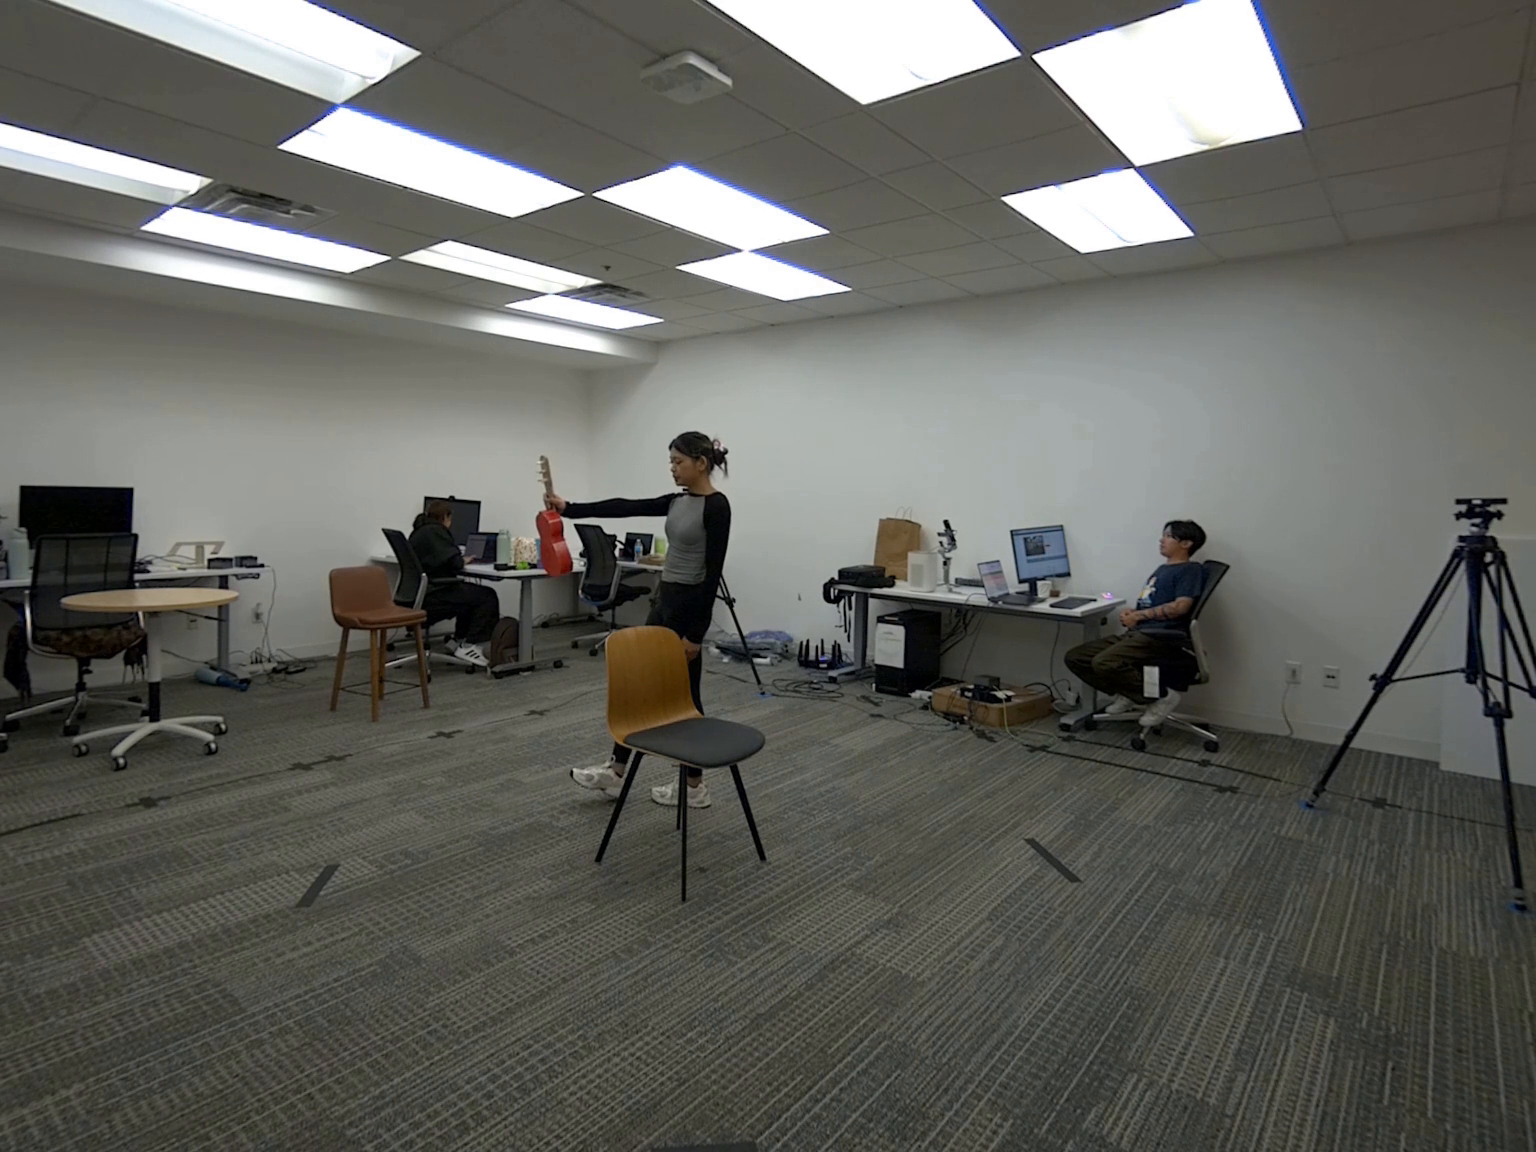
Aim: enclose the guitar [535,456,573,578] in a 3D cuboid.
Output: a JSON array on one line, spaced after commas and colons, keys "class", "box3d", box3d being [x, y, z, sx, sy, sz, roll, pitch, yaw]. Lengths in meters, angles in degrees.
[{"class": "guitar", "box3d": [-0.935, -0.250, 3.531, 0.069, 0.496, 0.198, -14, 5, -33]}]
